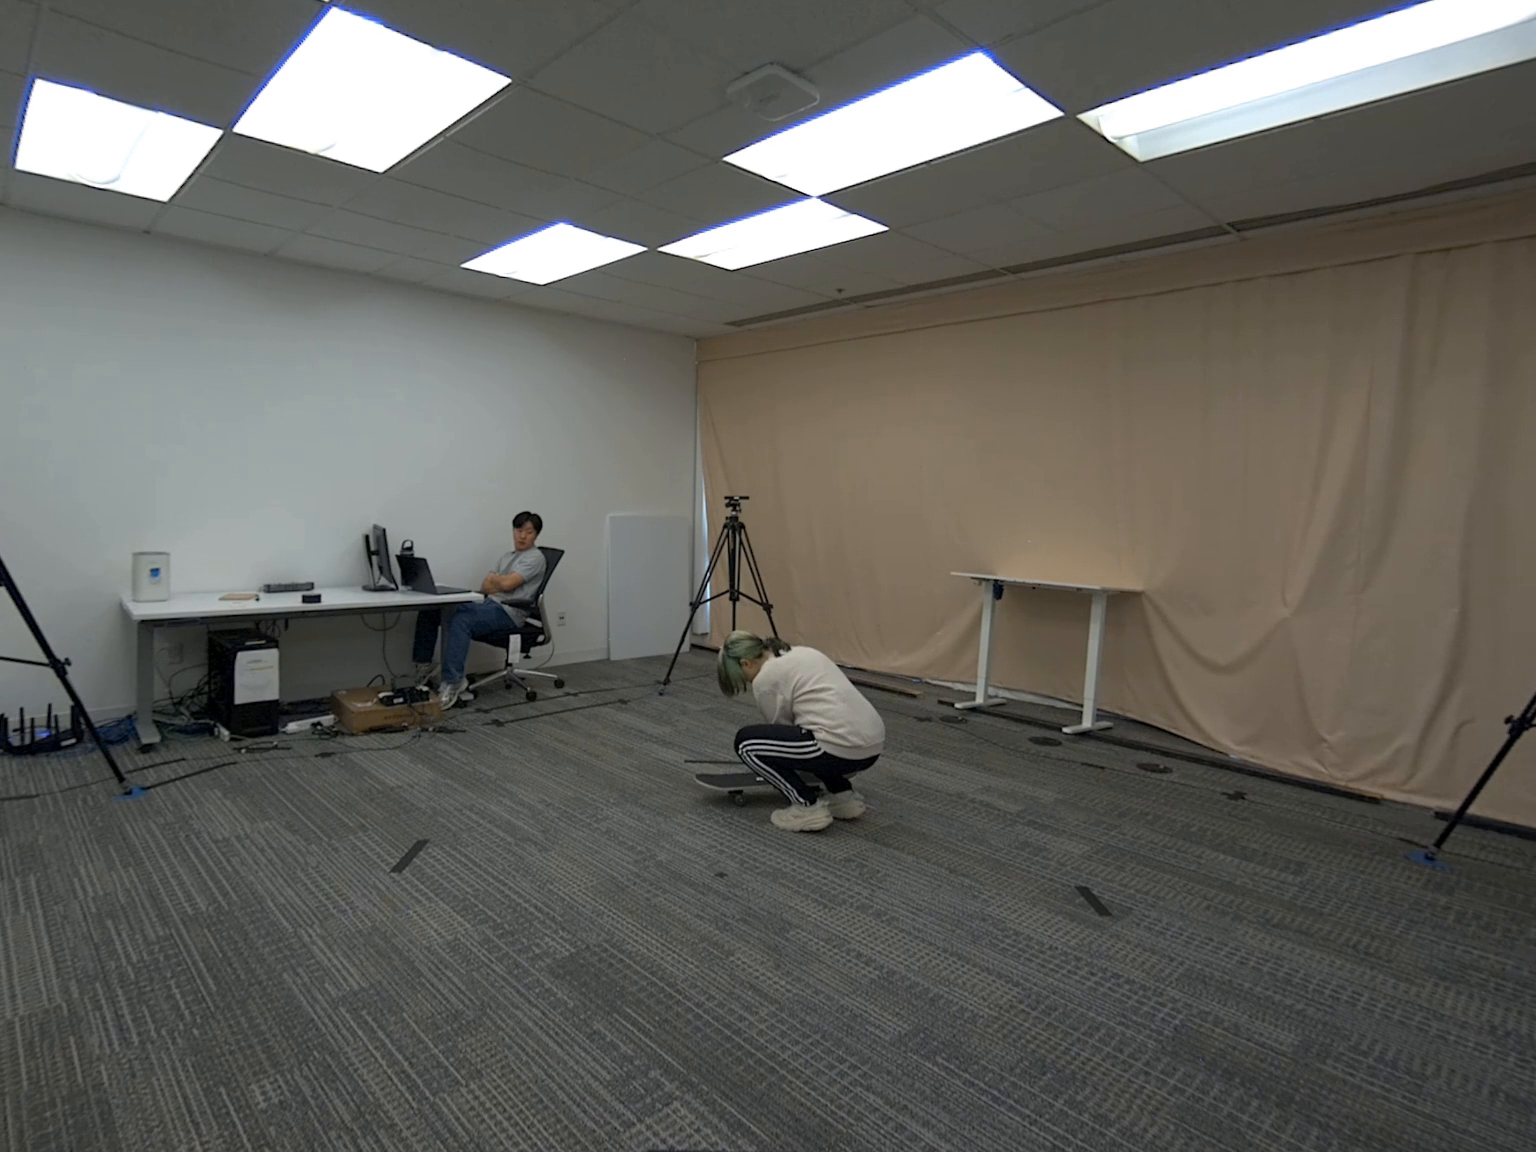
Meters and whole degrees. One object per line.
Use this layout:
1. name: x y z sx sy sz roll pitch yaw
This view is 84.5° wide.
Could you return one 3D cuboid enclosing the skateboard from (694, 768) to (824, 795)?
1. skateboard: 0.034 0.967 3.930 0.777 0.110 0.196 1 5 -13
